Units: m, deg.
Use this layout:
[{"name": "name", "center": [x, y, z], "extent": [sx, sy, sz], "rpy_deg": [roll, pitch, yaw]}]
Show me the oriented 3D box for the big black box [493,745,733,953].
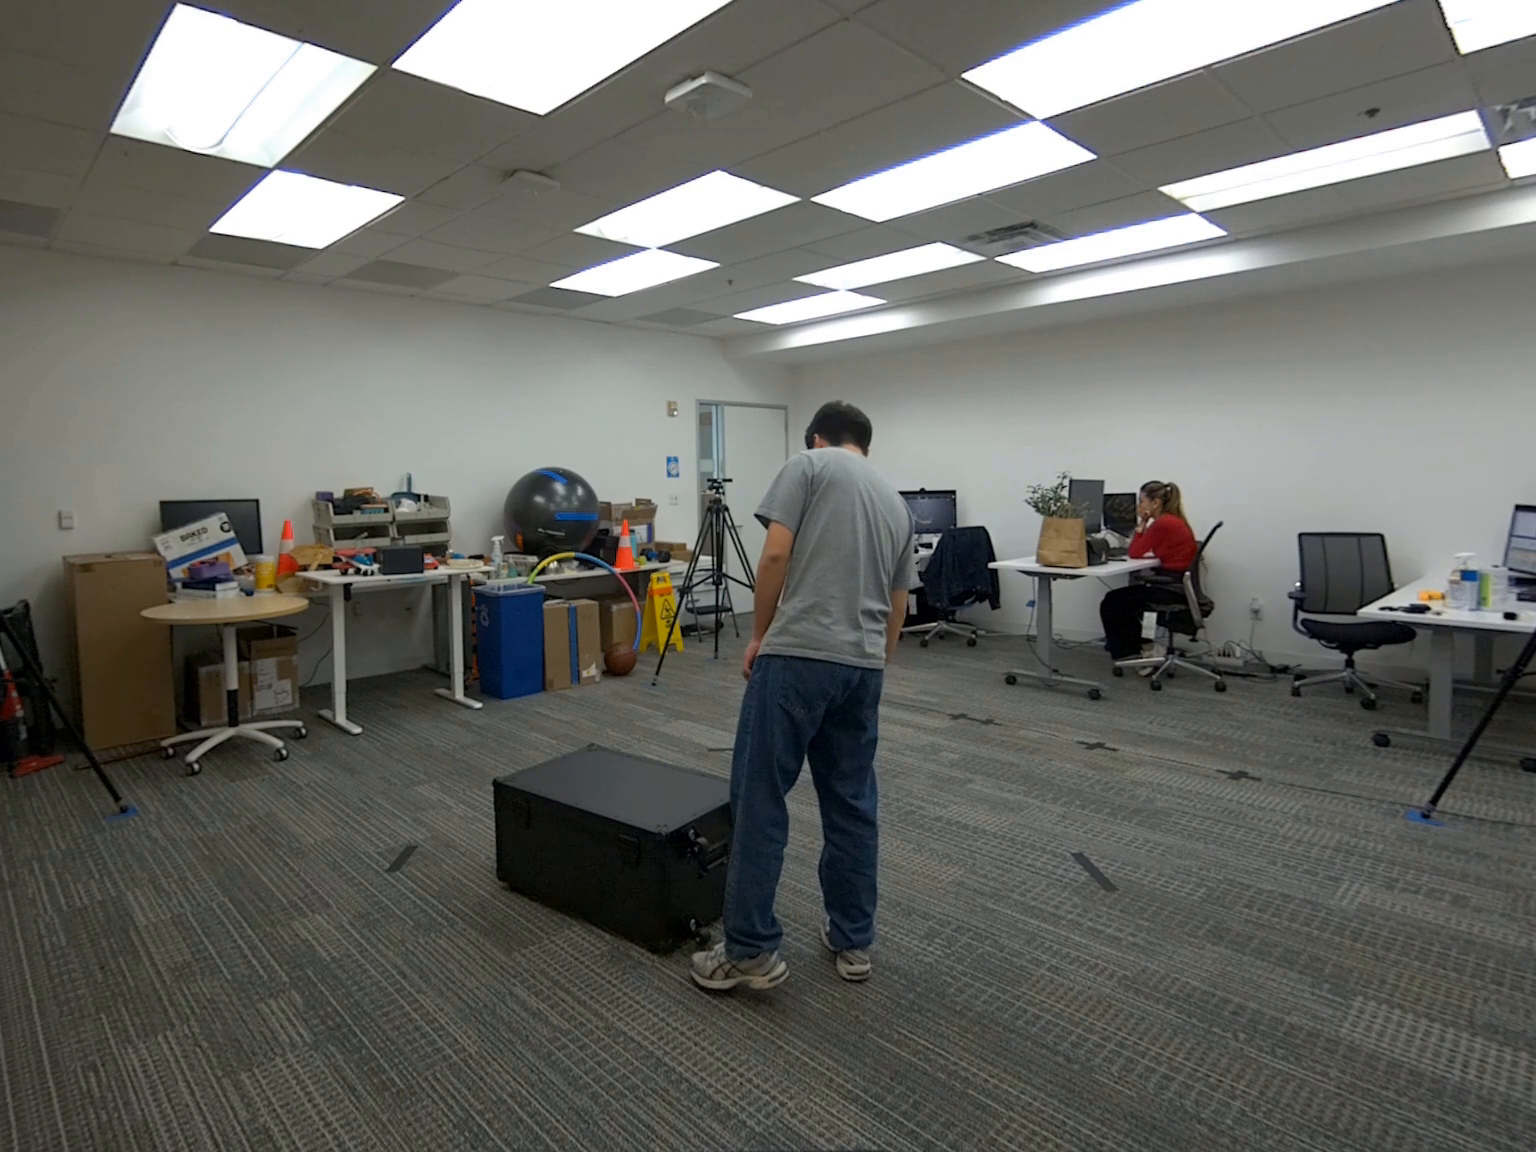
[{"name": "big black box", "center": [-0.458, 0.888, 2.889], "extent": [0.887, 0.394, 0.508], "rpy_deg": [4, 7, 35]}]
